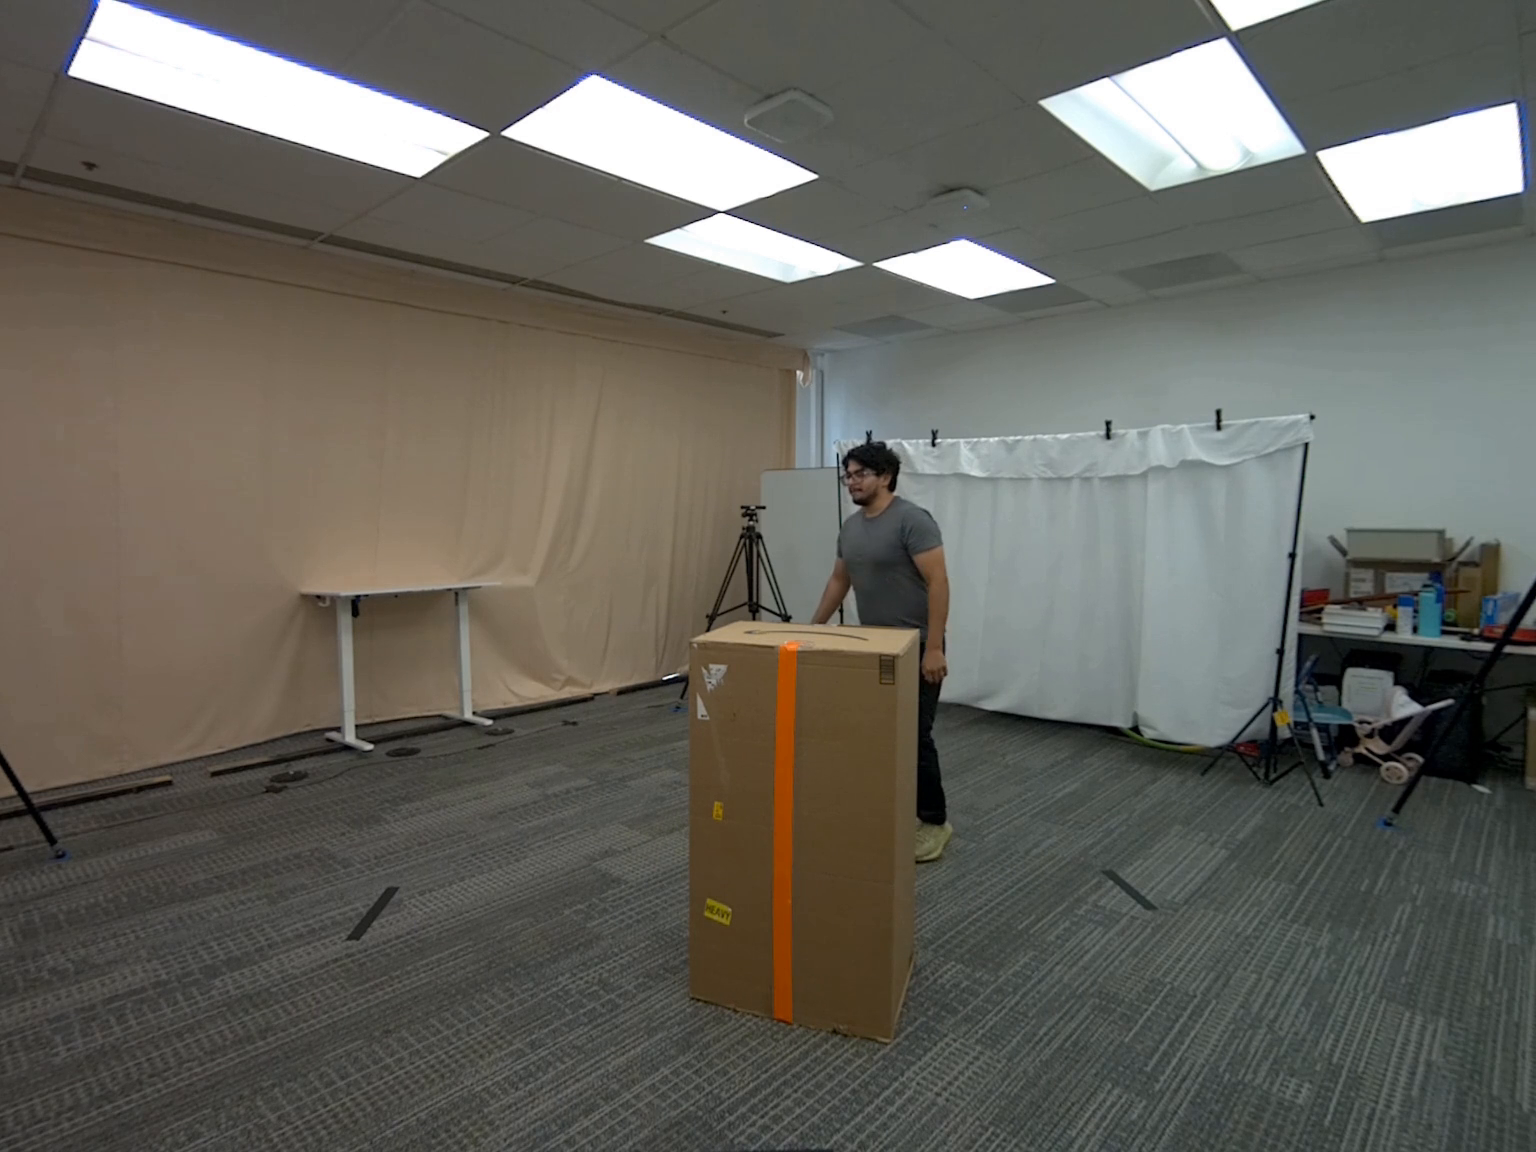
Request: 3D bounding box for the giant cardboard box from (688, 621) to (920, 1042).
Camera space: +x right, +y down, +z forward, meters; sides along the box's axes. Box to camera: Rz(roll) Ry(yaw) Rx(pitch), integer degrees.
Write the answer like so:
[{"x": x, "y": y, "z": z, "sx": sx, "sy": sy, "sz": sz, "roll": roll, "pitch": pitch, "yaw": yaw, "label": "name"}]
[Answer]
[{"x": 0.113, "y": 0.682, "z": 2.442, "sx": 0.596, "sy": 1.025, "sz": 0.438, "roll": 1, "pitch": 3, "yaw": 20, "label": "giant cardboard box"}]
